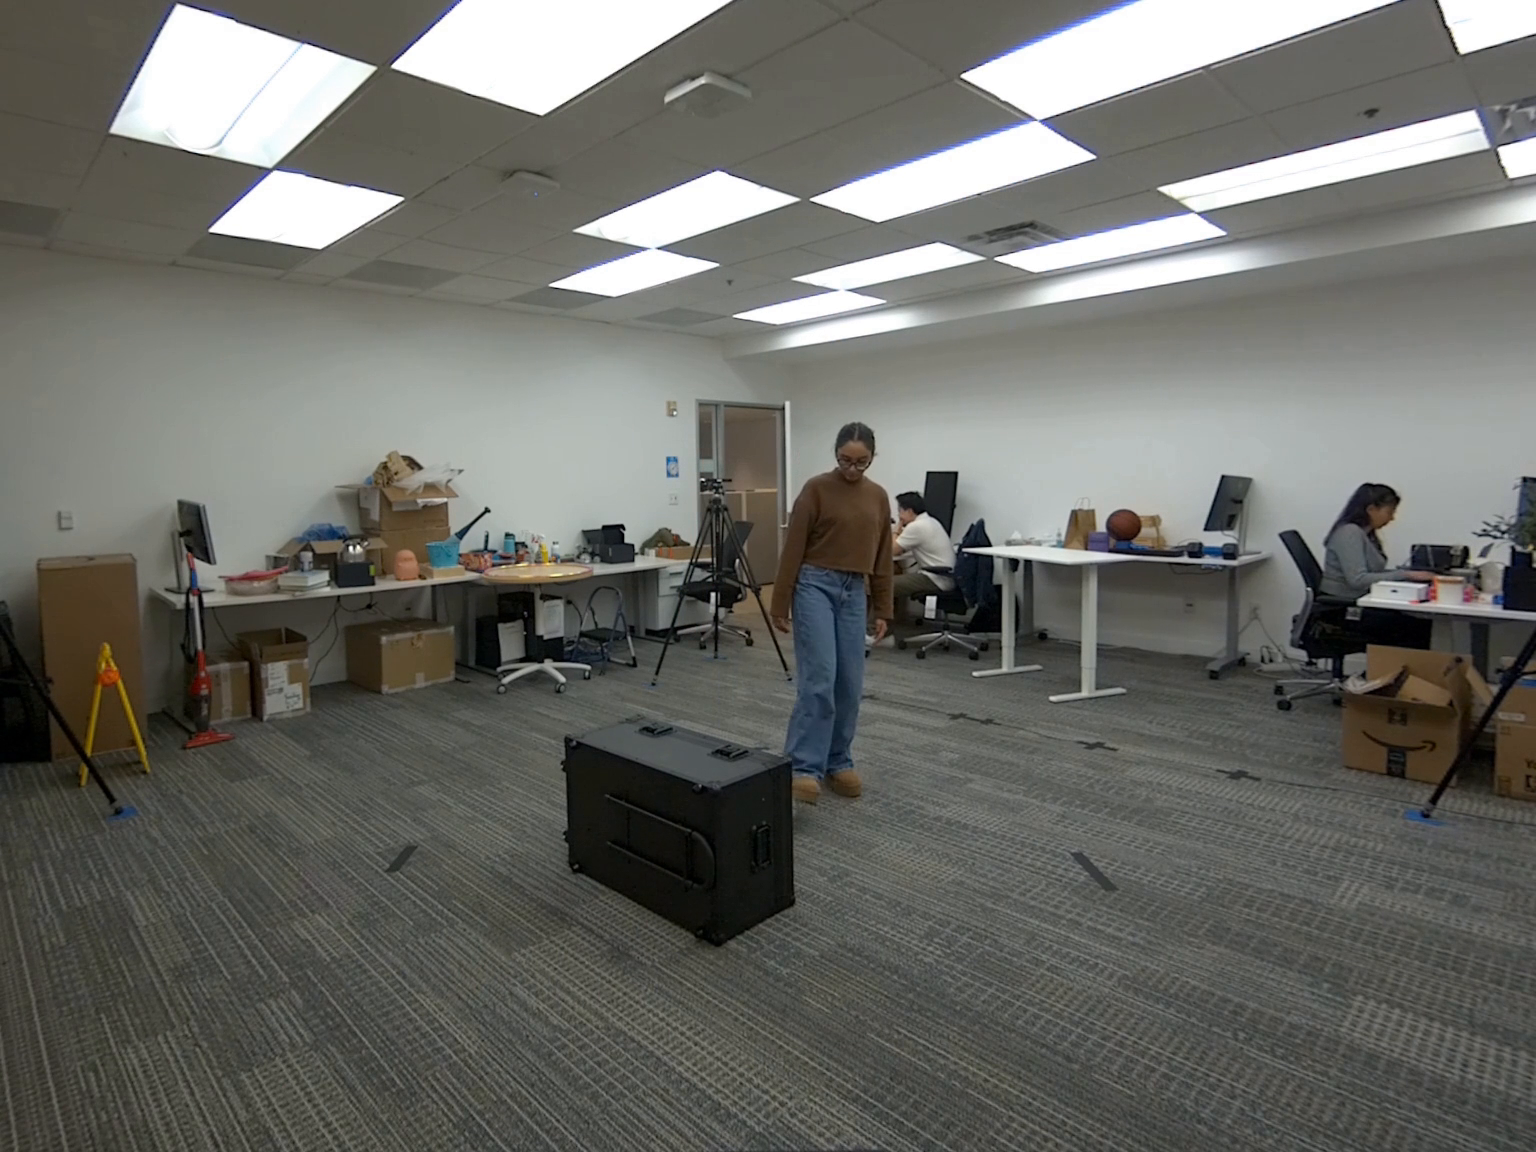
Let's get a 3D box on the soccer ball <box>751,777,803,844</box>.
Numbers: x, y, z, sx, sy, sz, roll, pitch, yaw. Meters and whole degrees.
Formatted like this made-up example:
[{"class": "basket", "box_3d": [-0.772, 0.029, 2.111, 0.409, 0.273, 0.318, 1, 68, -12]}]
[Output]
[{"class": "soccer ball", "box_3d": [0.031, 0.916, 3.361, 0.187, 0.187, 0.188, -1, 5, -2]}]
